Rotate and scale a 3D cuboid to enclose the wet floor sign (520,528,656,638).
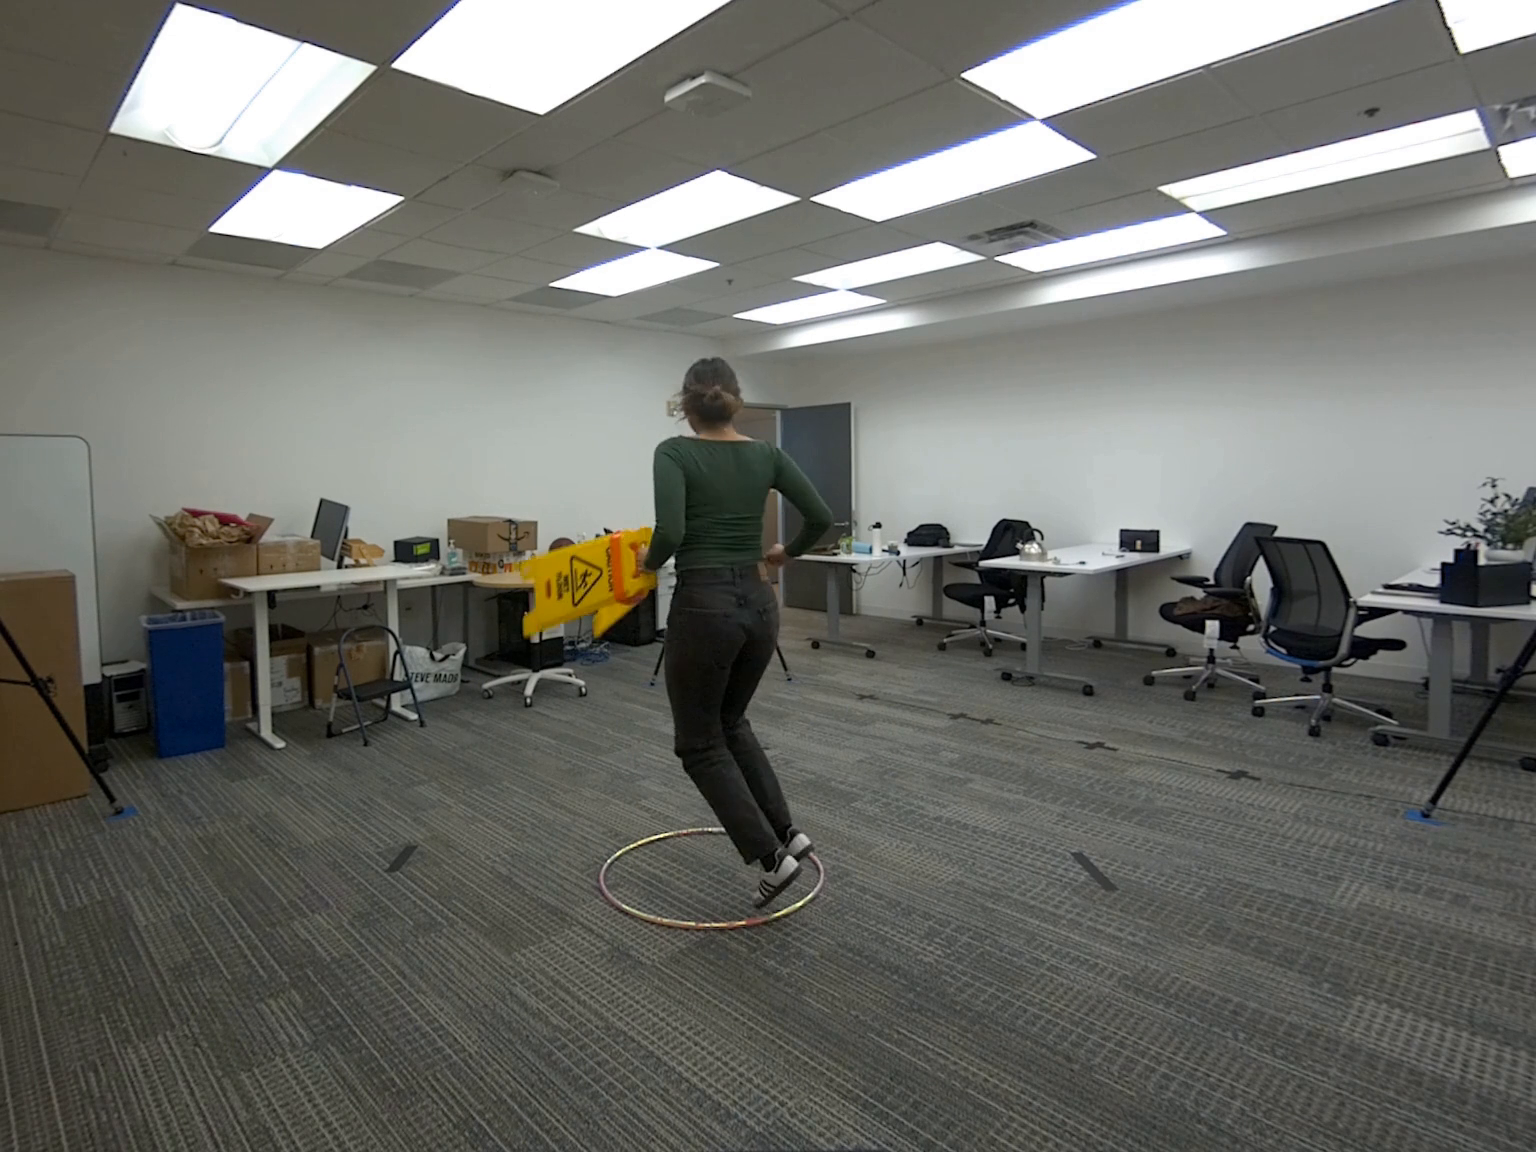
[{"bbox_3d":[-0.536,0.056,2.891,0.281,0.286,0.656,4,-17,-39],"label":"wet floor sign"}]
